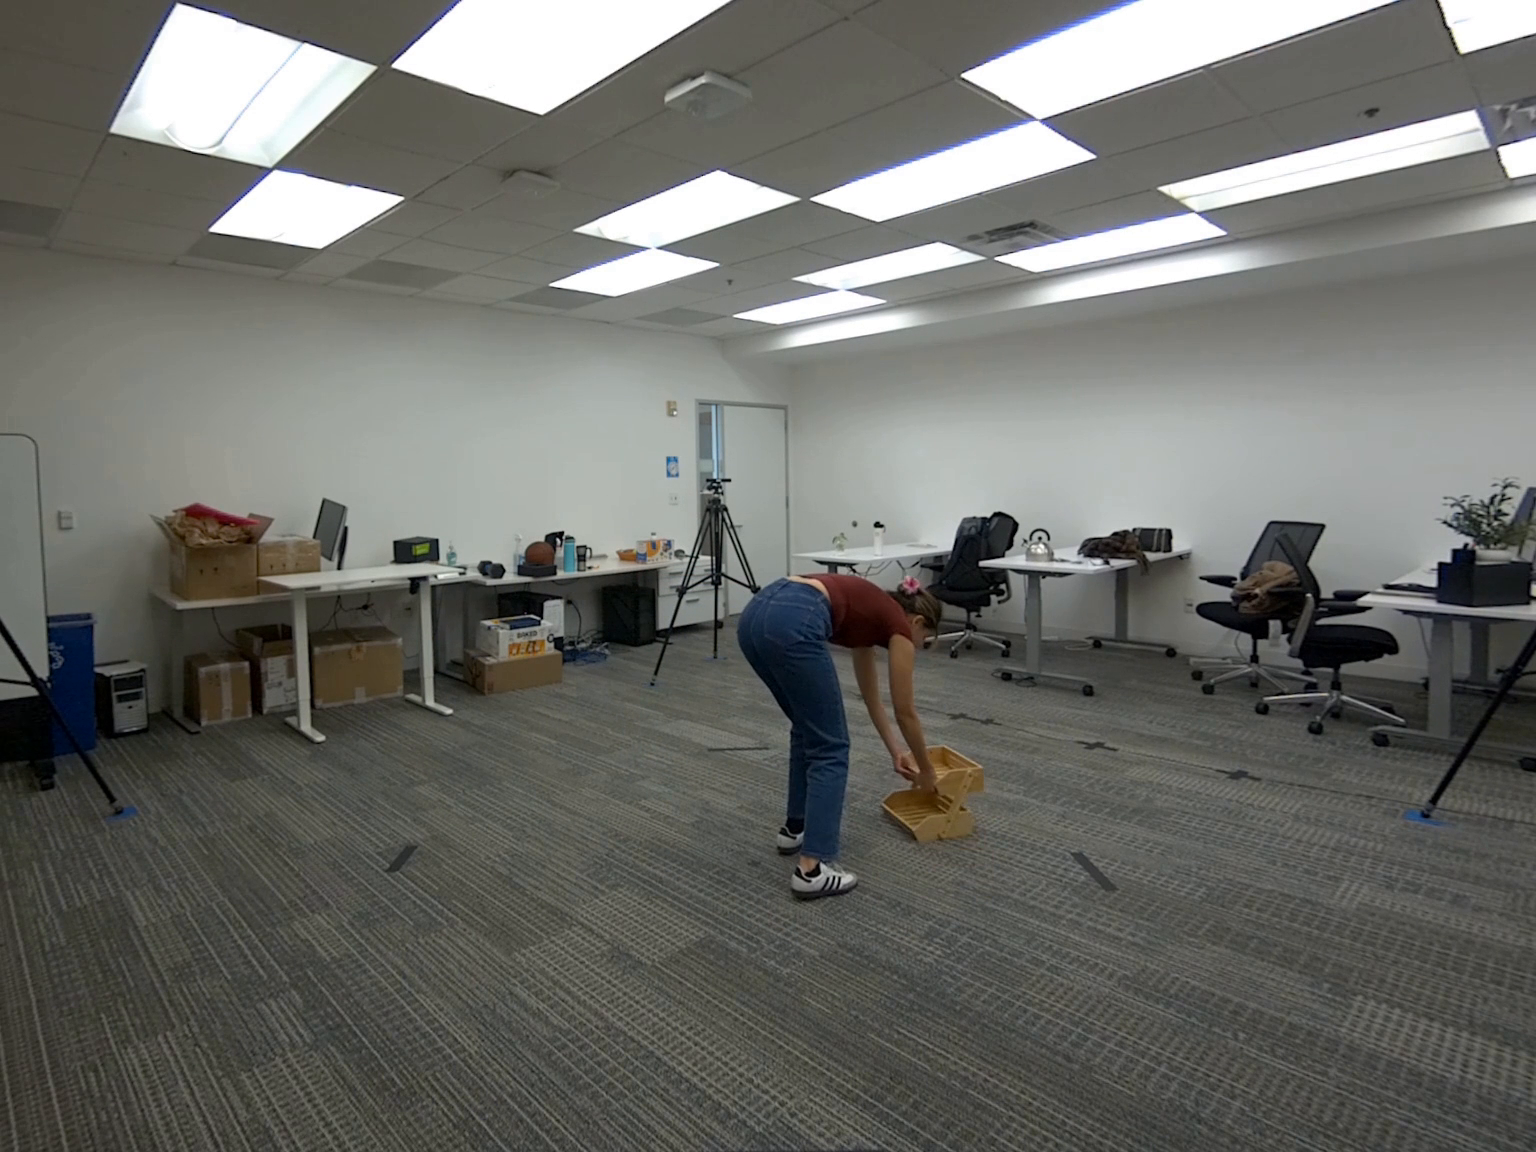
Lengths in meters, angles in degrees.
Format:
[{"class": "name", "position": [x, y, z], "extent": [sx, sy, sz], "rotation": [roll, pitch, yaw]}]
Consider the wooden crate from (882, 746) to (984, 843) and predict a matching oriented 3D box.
[{"class": "wooden crate", "position": [0.653, 0.863, 3.431], "extent": [0.297, 0.272, 0.331], "rotation": [-3, 5, -18]}]
